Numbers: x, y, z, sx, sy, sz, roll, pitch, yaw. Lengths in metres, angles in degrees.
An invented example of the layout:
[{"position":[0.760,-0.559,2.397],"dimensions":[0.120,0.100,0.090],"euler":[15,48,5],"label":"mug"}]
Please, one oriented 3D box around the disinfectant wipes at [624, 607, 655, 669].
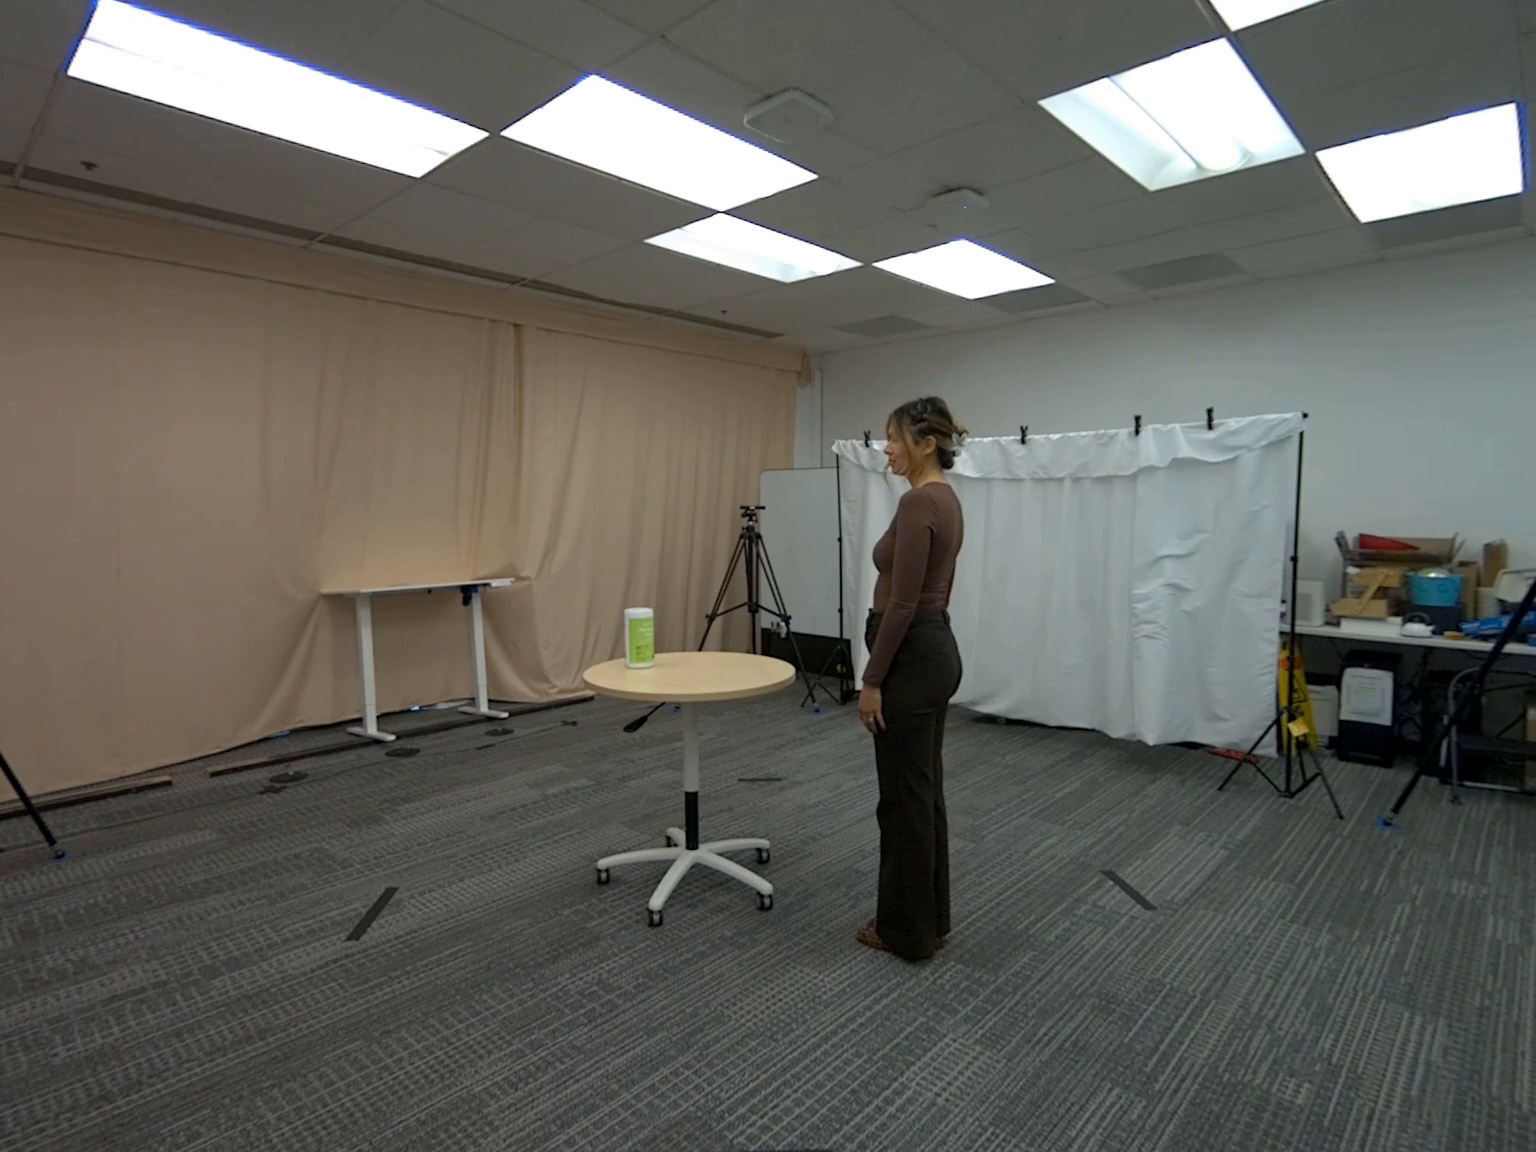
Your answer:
[{"position":[-0.483,0.230,3.147],"dimensions":[0.118,0.217,0.118],"euler":[0,2,-2],"label":"disinfectant wipes"}]
